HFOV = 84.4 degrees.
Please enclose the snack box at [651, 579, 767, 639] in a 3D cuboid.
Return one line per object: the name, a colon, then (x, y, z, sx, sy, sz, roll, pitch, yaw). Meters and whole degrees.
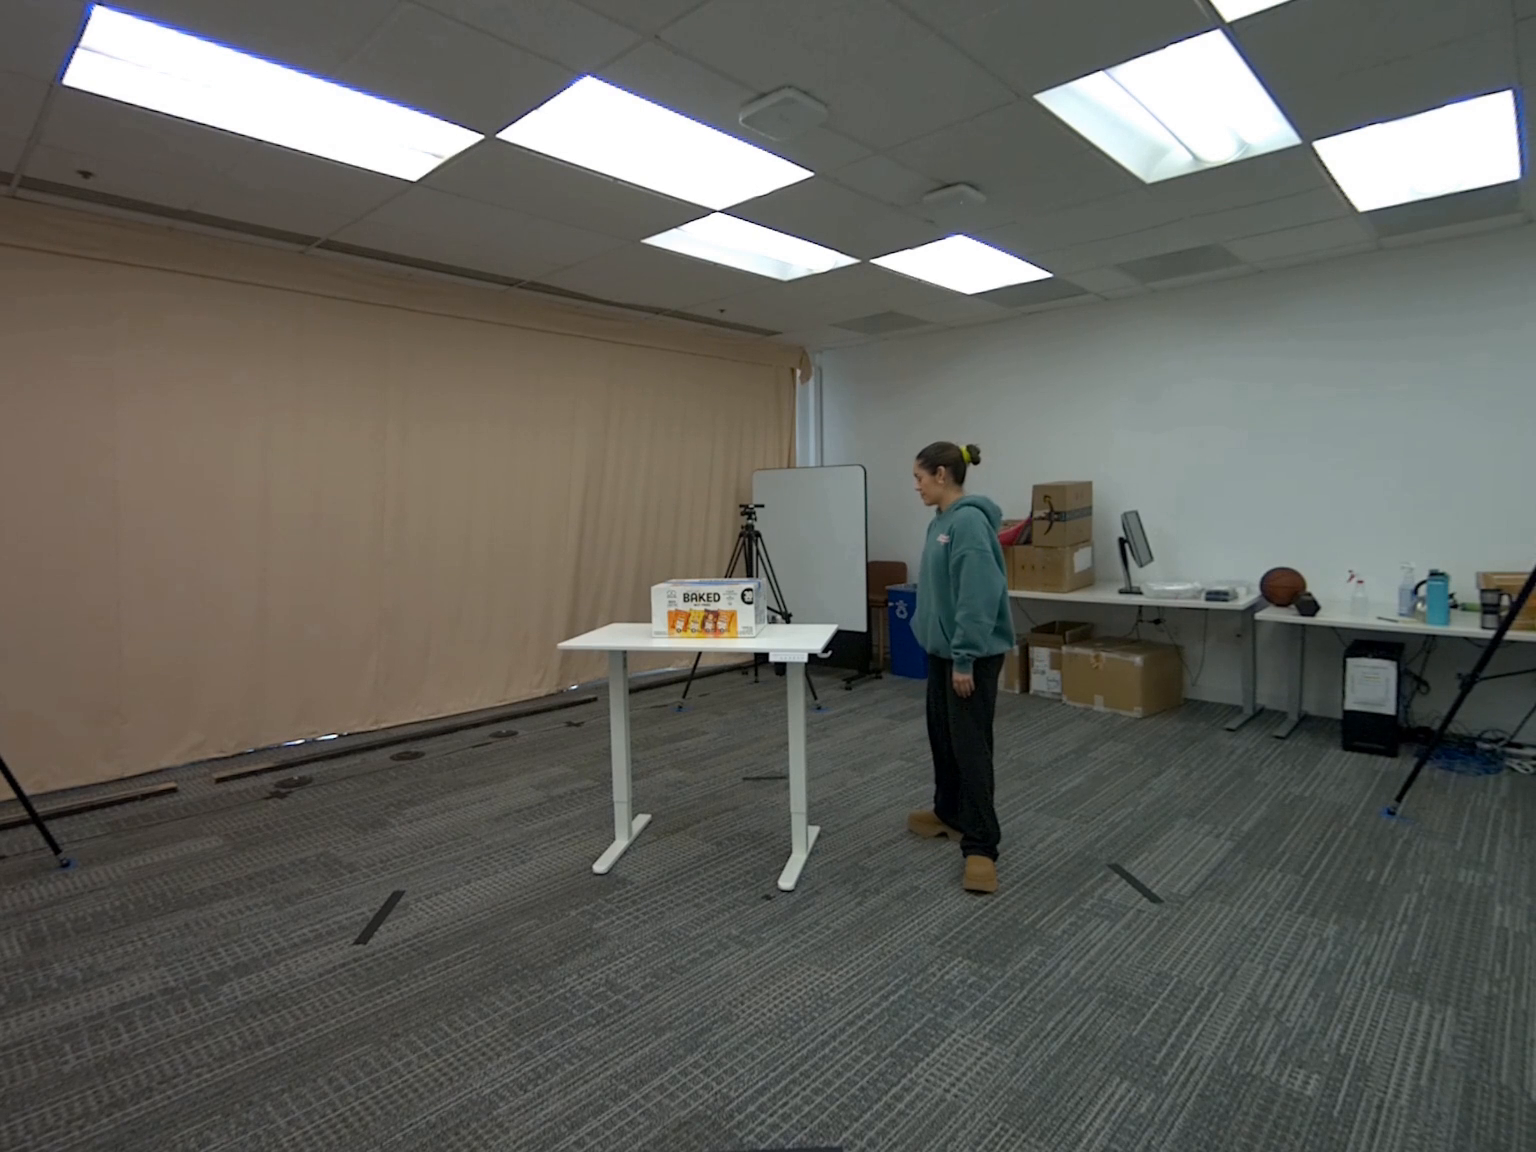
snack box: (-0.228, 0.127, 3.421, 0.410, 0.205, 0.337, -1, 4, 10)
